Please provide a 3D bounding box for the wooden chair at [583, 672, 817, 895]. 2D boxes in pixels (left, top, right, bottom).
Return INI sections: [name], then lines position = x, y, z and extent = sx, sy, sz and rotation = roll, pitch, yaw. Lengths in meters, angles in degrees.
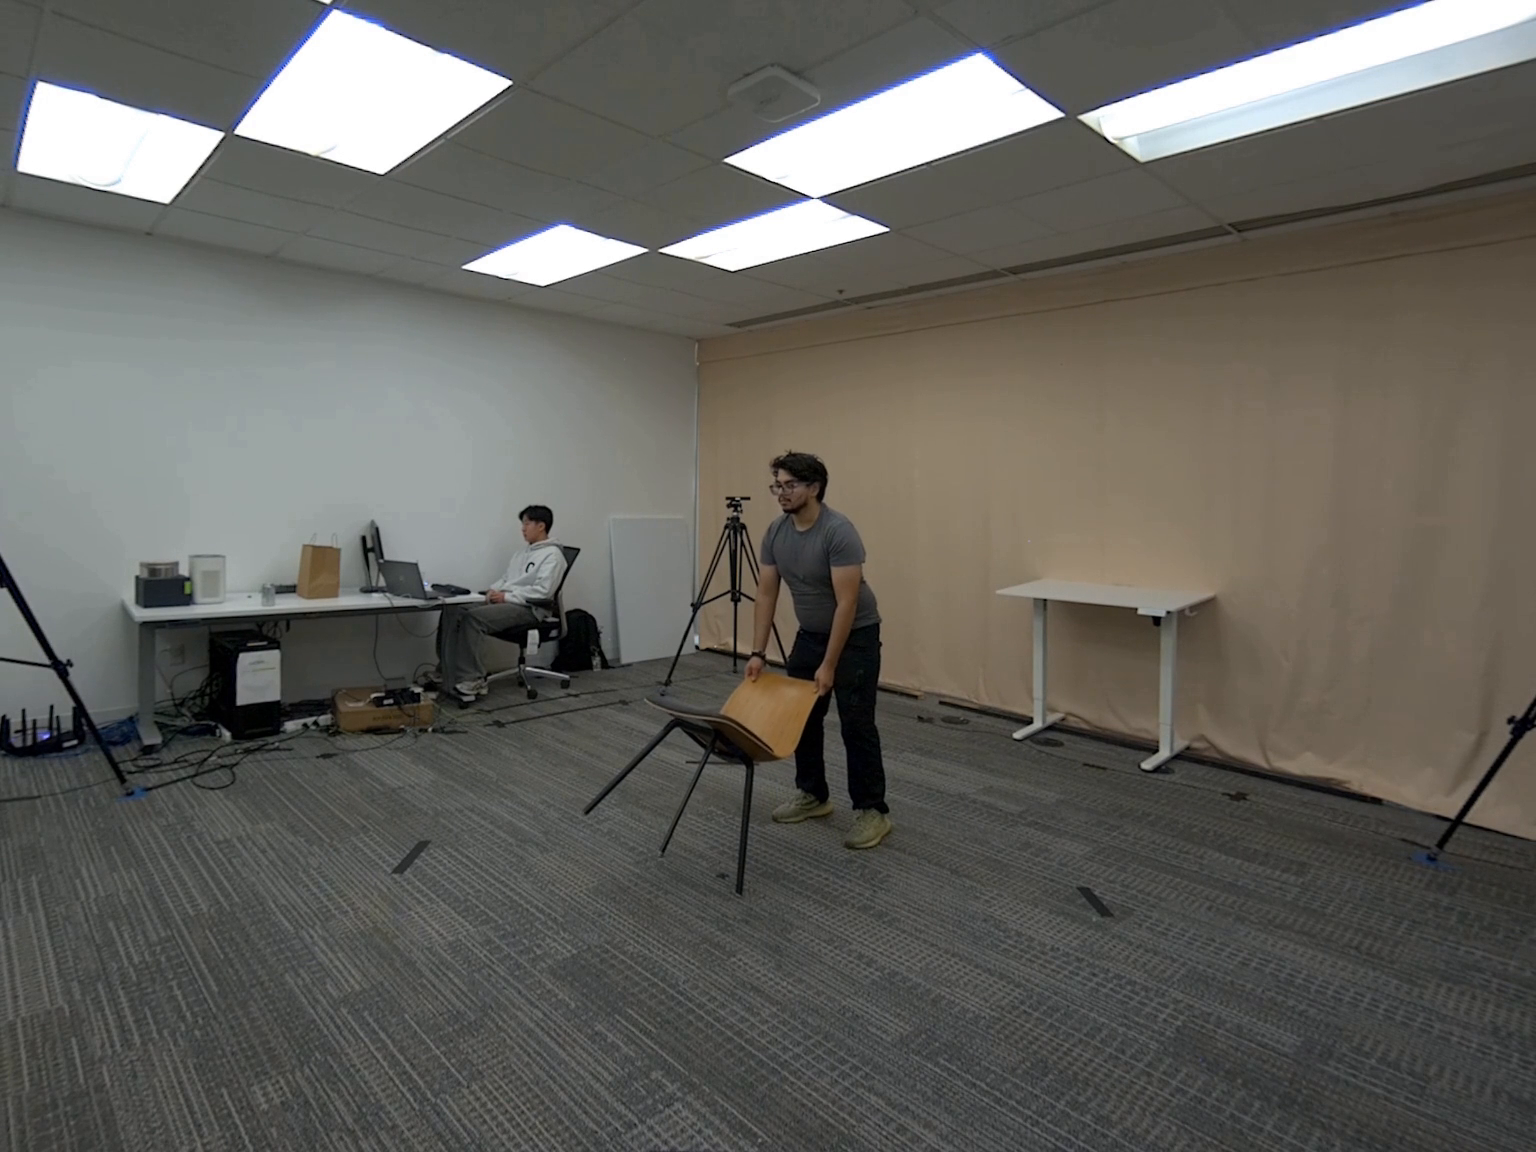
[wooden chair]
position = -0.211, 0.618, 3.113
extent = 0.490, 0.881, 0.507
rotation = 5, -34, 45
